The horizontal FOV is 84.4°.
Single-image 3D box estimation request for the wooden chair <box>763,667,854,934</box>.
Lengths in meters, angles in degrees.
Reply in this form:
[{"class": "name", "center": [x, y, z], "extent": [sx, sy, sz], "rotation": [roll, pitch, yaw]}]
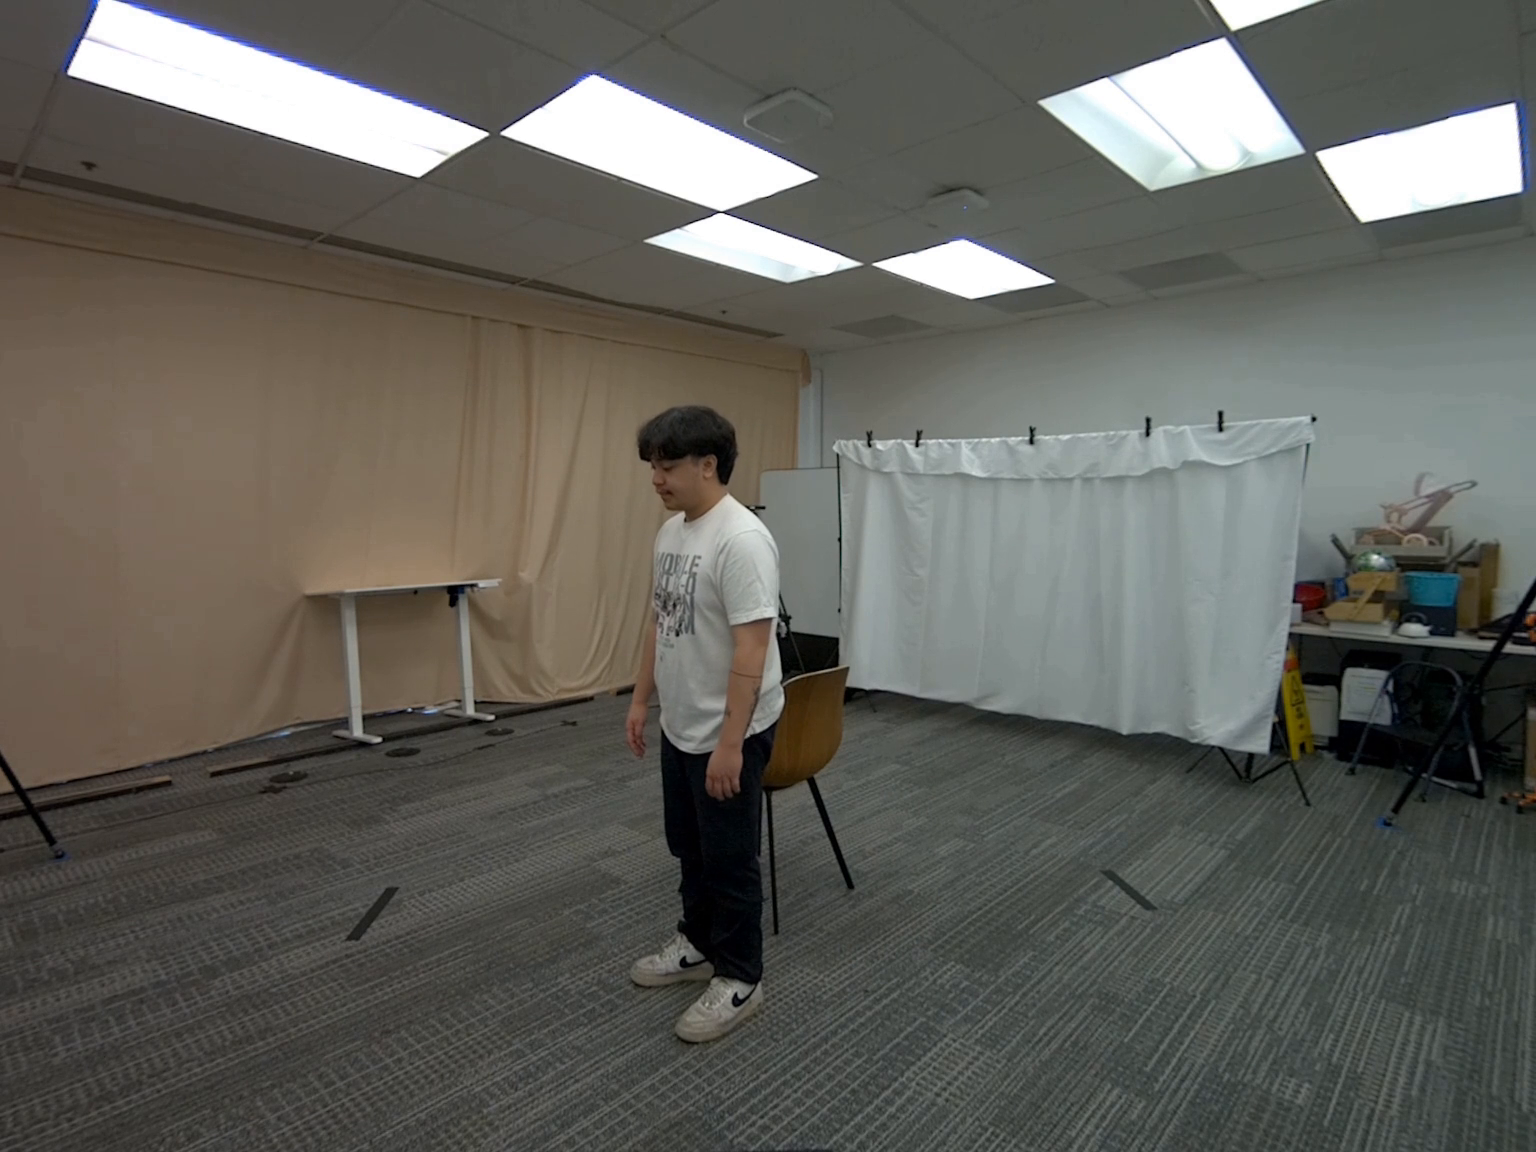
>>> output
[{"class": "wooden chair", "center": [-0.008, 0.717, 3.027], "extent": [0.541, 0.874, 0.463], "rotation": [8, 8, 41]}]
